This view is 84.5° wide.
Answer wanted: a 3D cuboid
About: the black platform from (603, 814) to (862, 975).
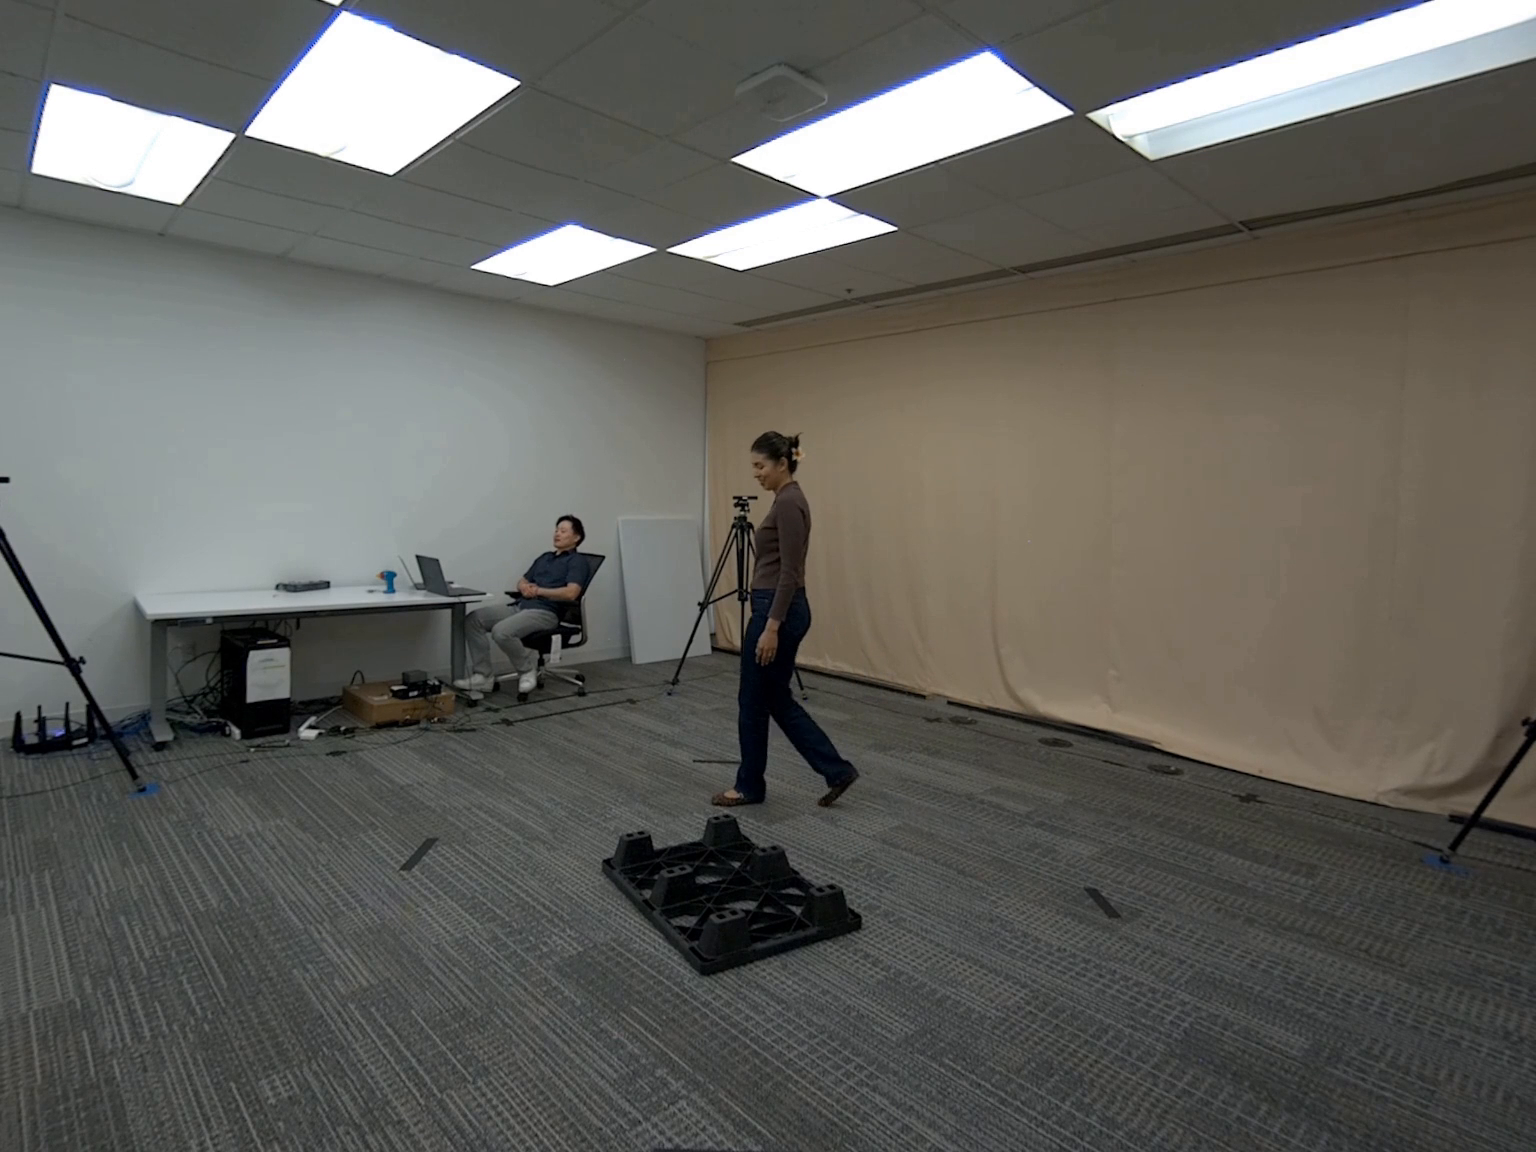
[{"bbox_3d":[-0.152,1.053,2.918,0.593,0.143,0.825,-3,7,-32],"label":"black platform"}]
